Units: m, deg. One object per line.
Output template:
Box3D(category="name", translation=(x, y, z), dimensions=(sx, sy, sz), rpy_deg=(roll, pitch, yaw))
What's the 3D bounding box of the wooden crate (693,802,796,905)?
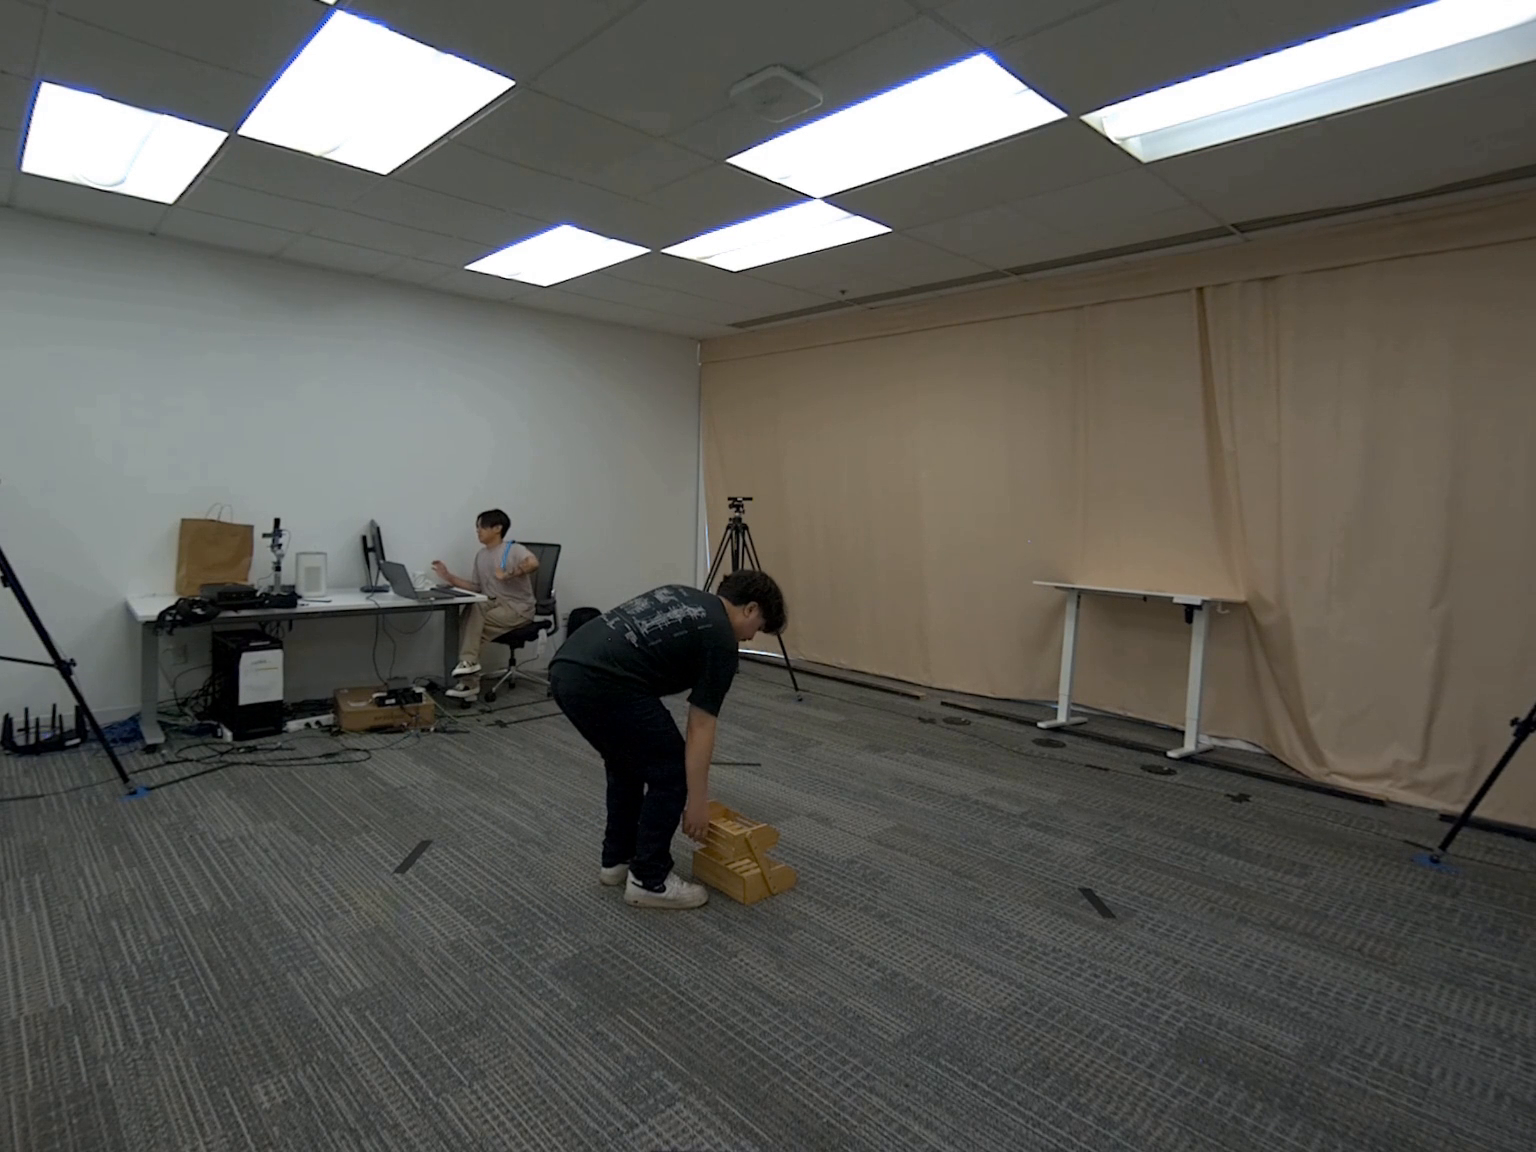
Box3D(category="wooden crate", translation=(-0.108, 0.981, 3.053), dimensions=(0.295, 0.272, 0.333), rpy_deg=(-3, 7, -40))
